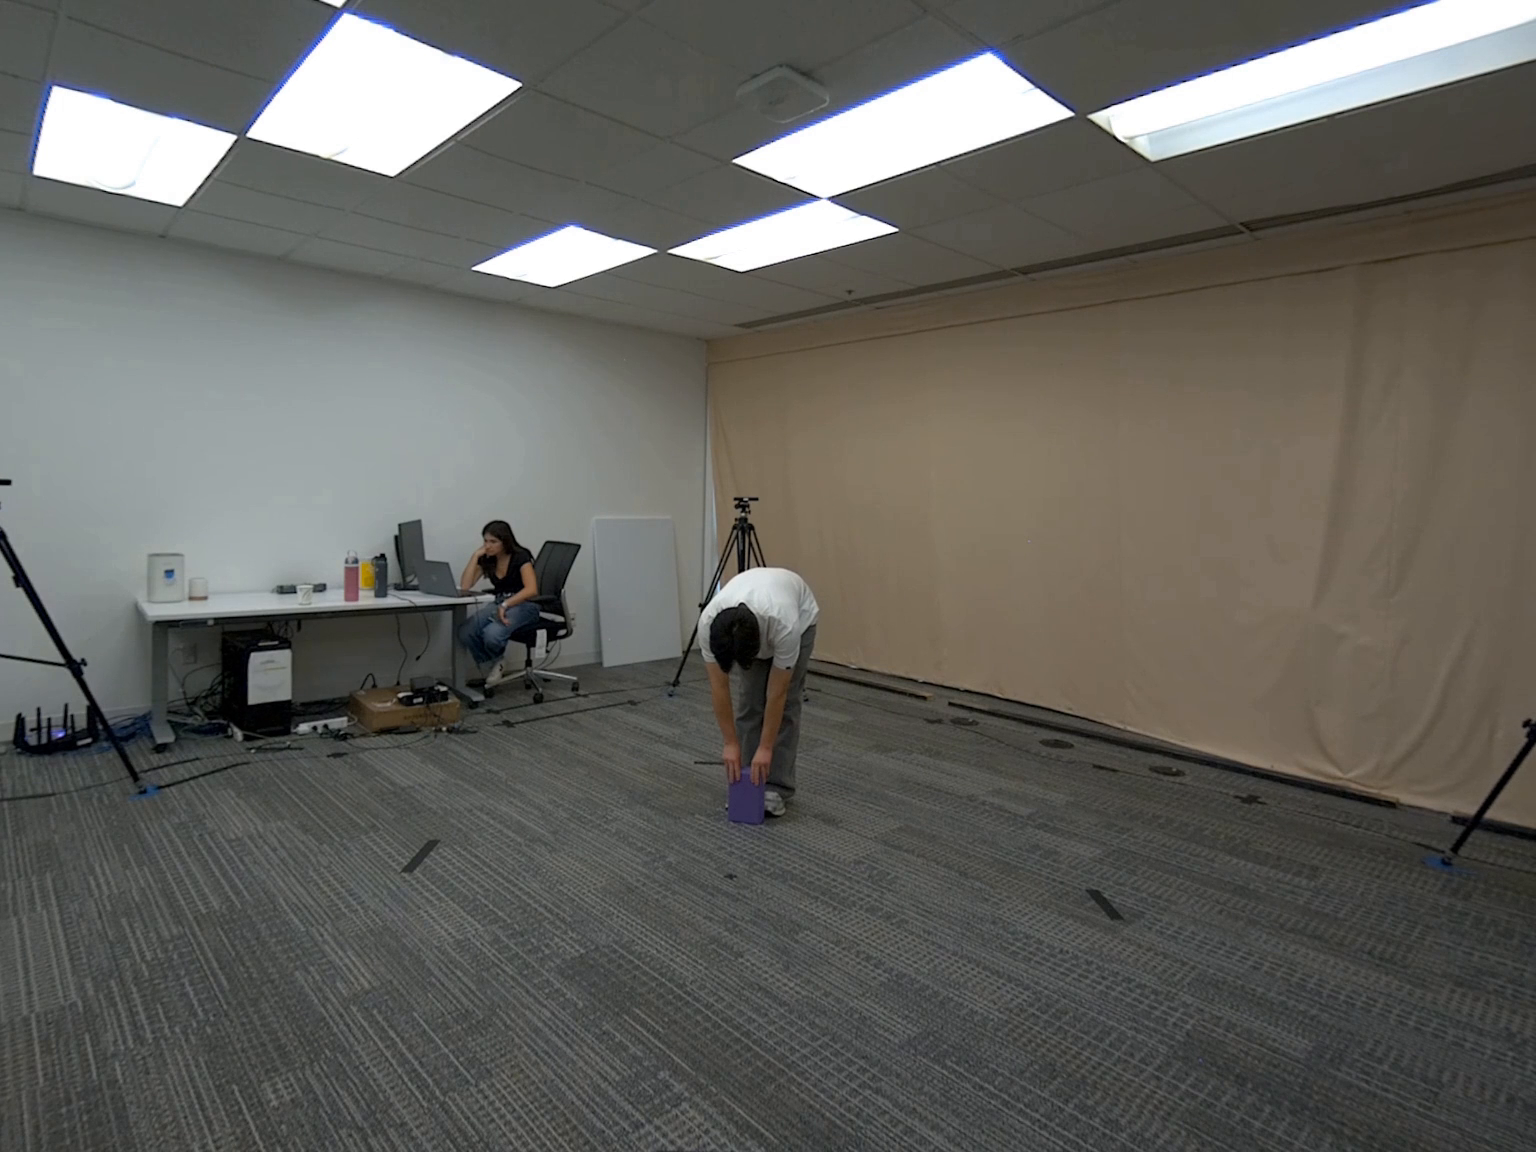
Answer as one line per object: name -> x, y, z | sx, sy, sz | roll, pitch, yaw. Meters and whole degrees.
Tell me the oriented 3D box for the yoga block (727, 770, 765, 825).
yoga block -> -0.112, 0.957, 3.642 | 0.151, 0.228, 0.076 | 2, 4, 14
